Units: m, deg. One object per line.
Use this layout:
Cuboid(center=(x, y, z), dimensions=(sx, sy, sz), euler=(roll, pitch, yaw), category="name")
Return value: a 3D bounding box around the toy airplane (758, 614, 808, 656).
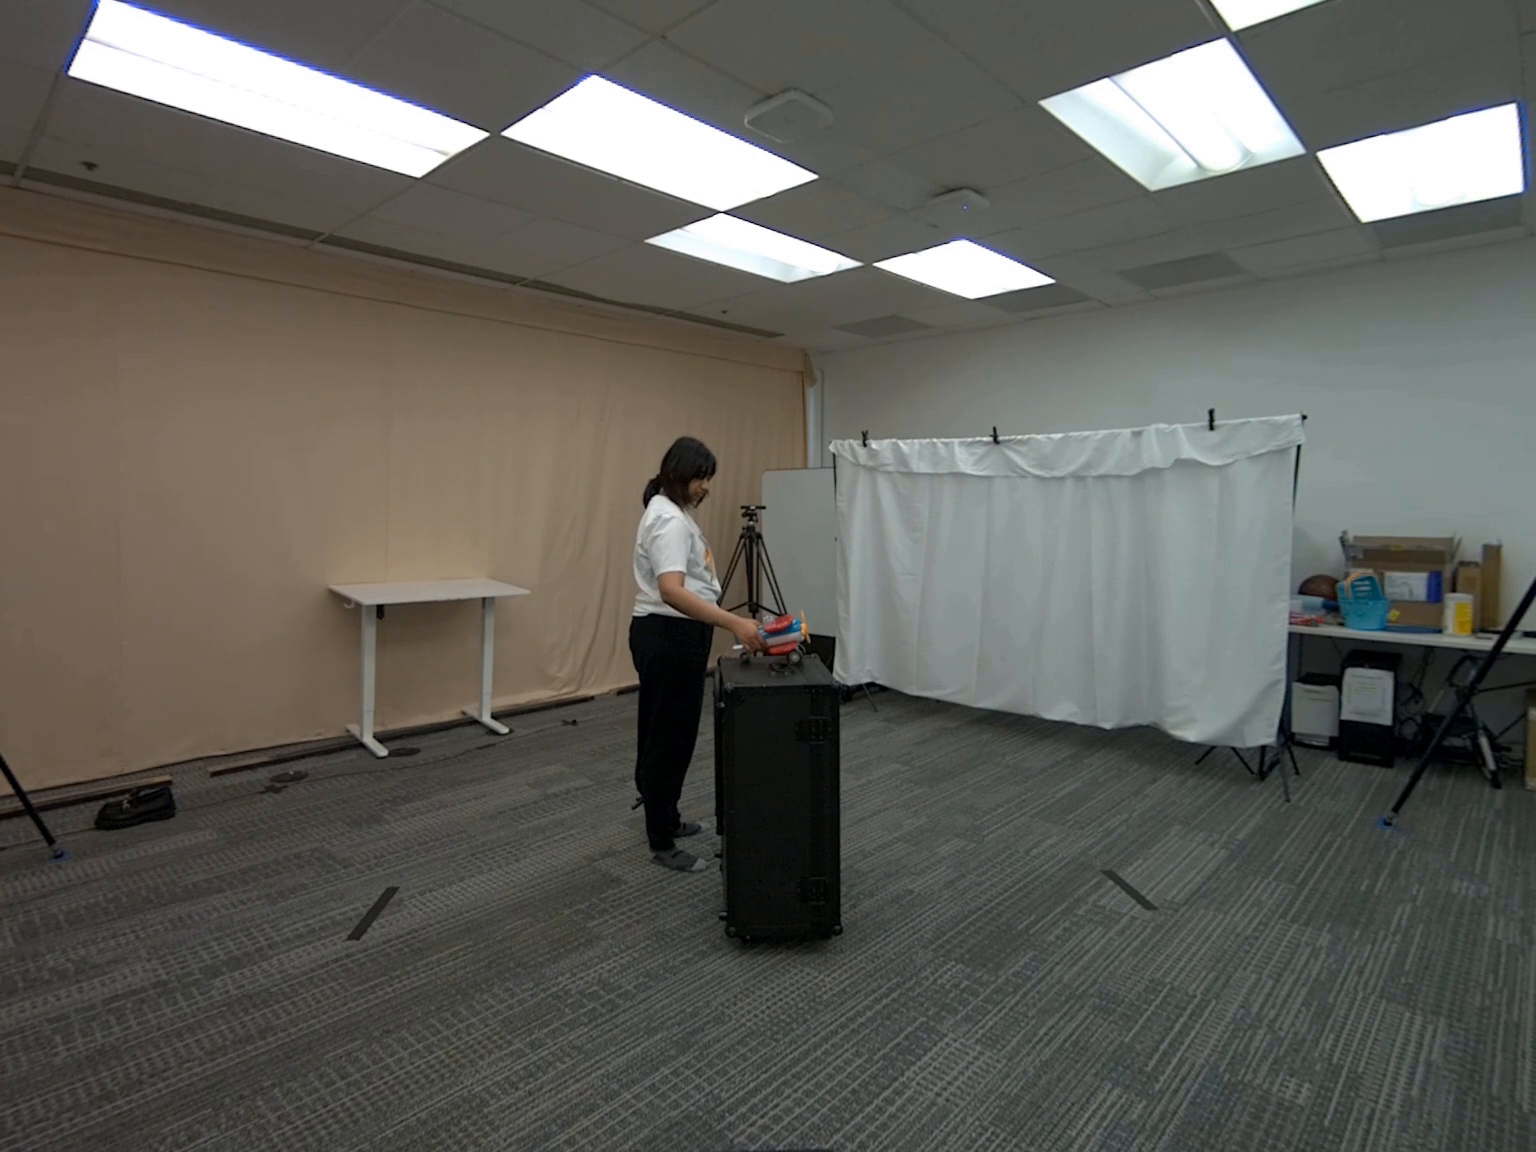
Cuboid(center=(0.010, 0.222, 2.914), dimensions=(0.255, 0.156, 0.256), euler=(-4, 7, -16), category="toy airplane")
